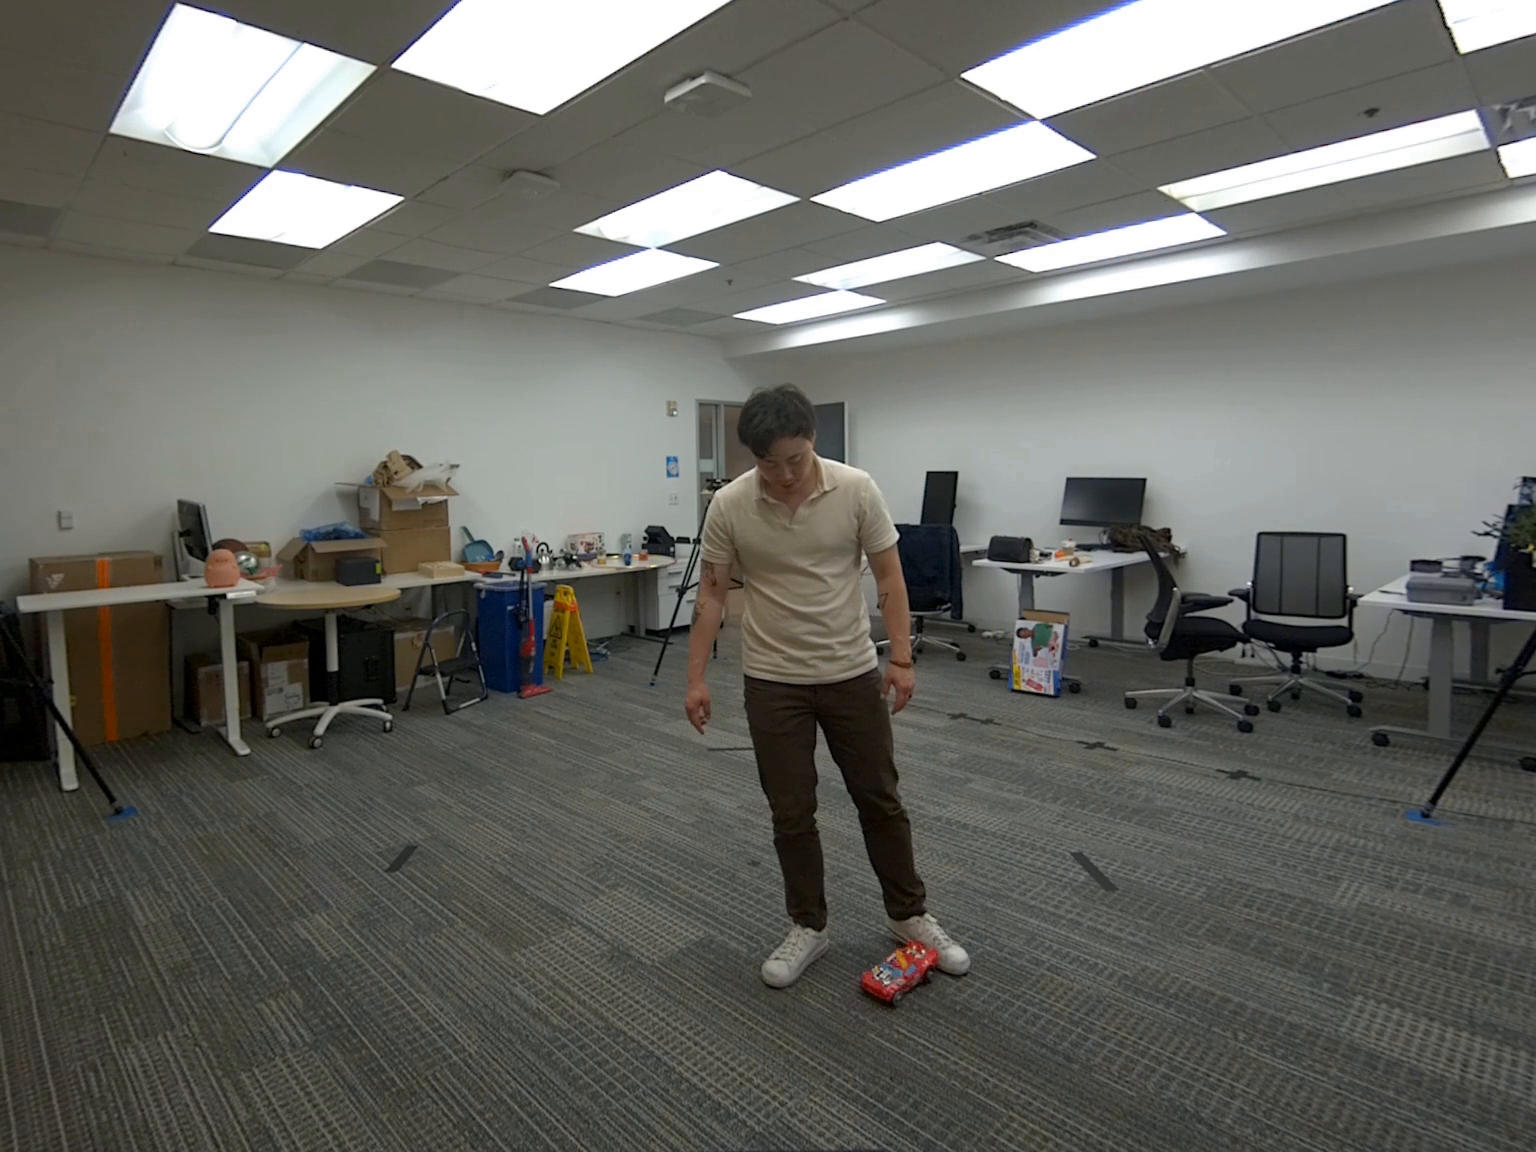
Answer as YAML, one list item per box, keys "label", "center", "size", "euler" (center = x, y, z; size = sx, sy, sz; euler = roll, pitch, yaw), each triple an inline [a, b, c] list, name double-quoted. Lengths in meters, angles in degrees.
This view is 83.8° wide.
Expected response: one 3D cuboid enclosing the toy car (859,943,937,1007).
- label: "toy car"
  center: [0.372, 1.091, 2.353]
  size: [0.250, 0.082, 0.134]
  euler: [-20, 16, -39]
